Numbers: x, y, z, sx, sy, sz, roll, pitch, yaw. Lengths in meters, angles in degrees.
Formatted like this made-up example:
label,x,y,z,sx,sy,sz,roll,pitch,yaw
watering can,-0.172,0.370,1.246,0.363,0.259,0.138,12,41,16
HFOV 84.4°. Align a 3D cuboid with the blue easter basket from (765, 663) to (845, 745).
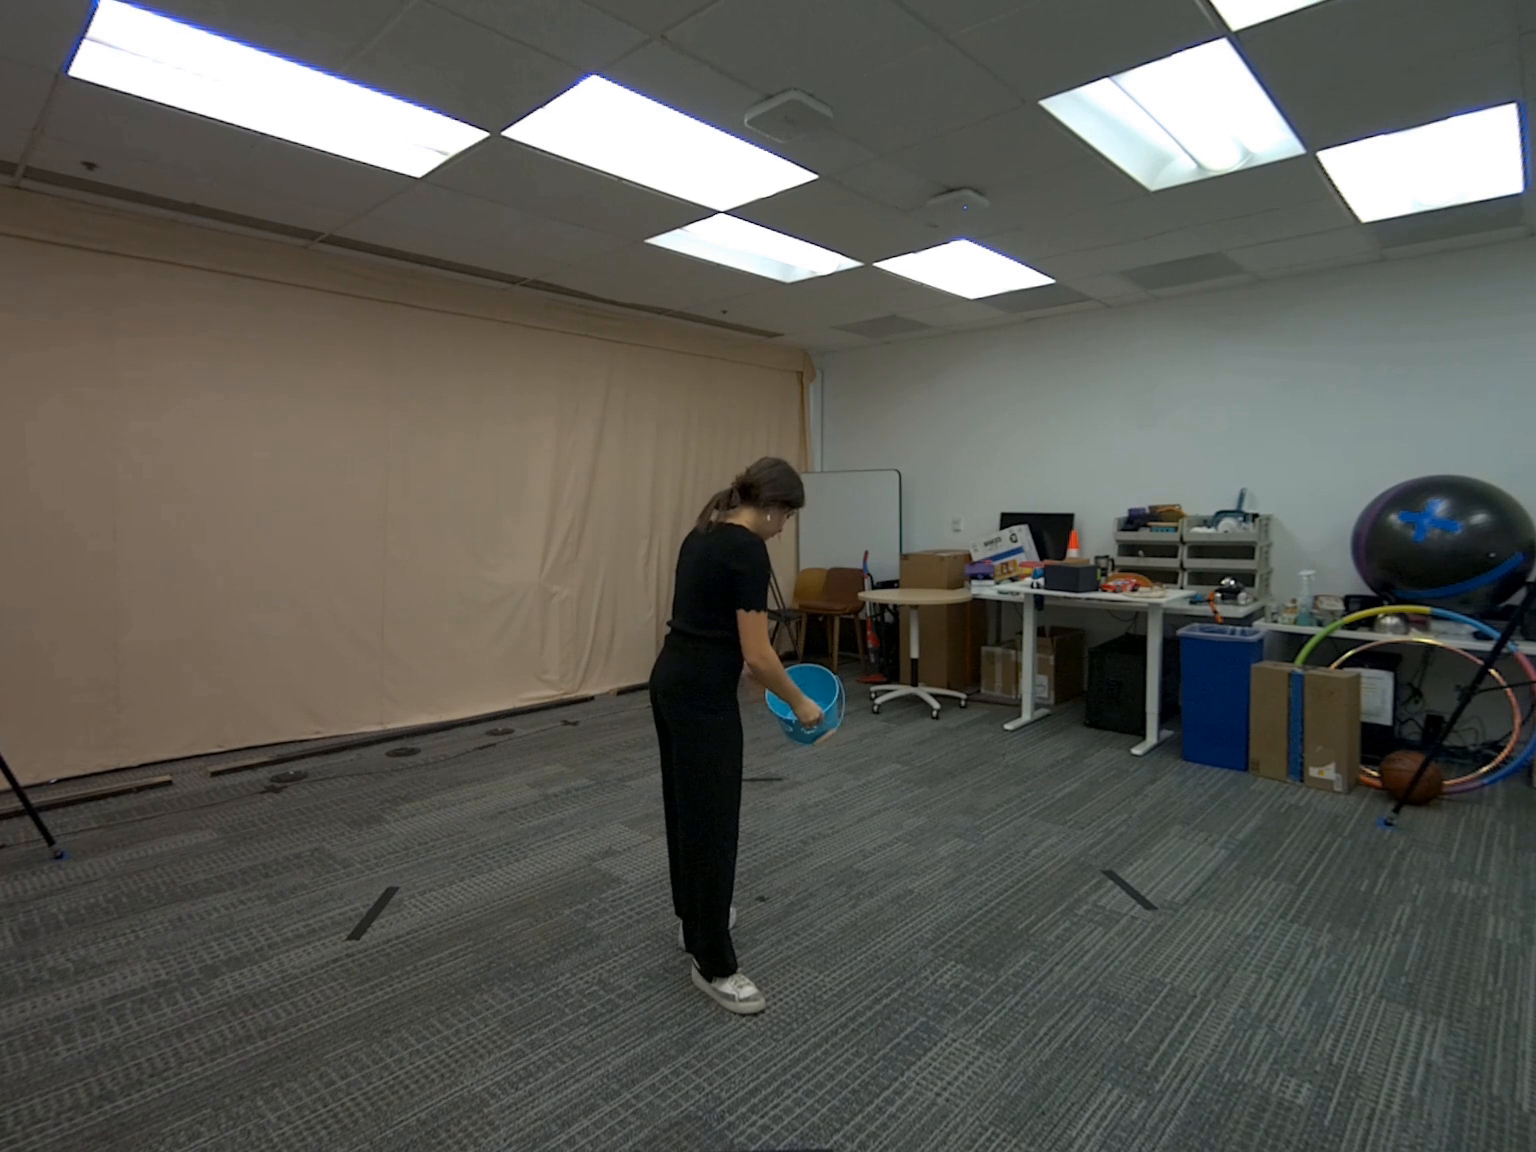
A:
label,x,y,z,sx,sy,sz,roll,pitch,yaw
blue easter basket,0.122,0.421,2.646,0.245,0.152,0.248,-12,36,7
